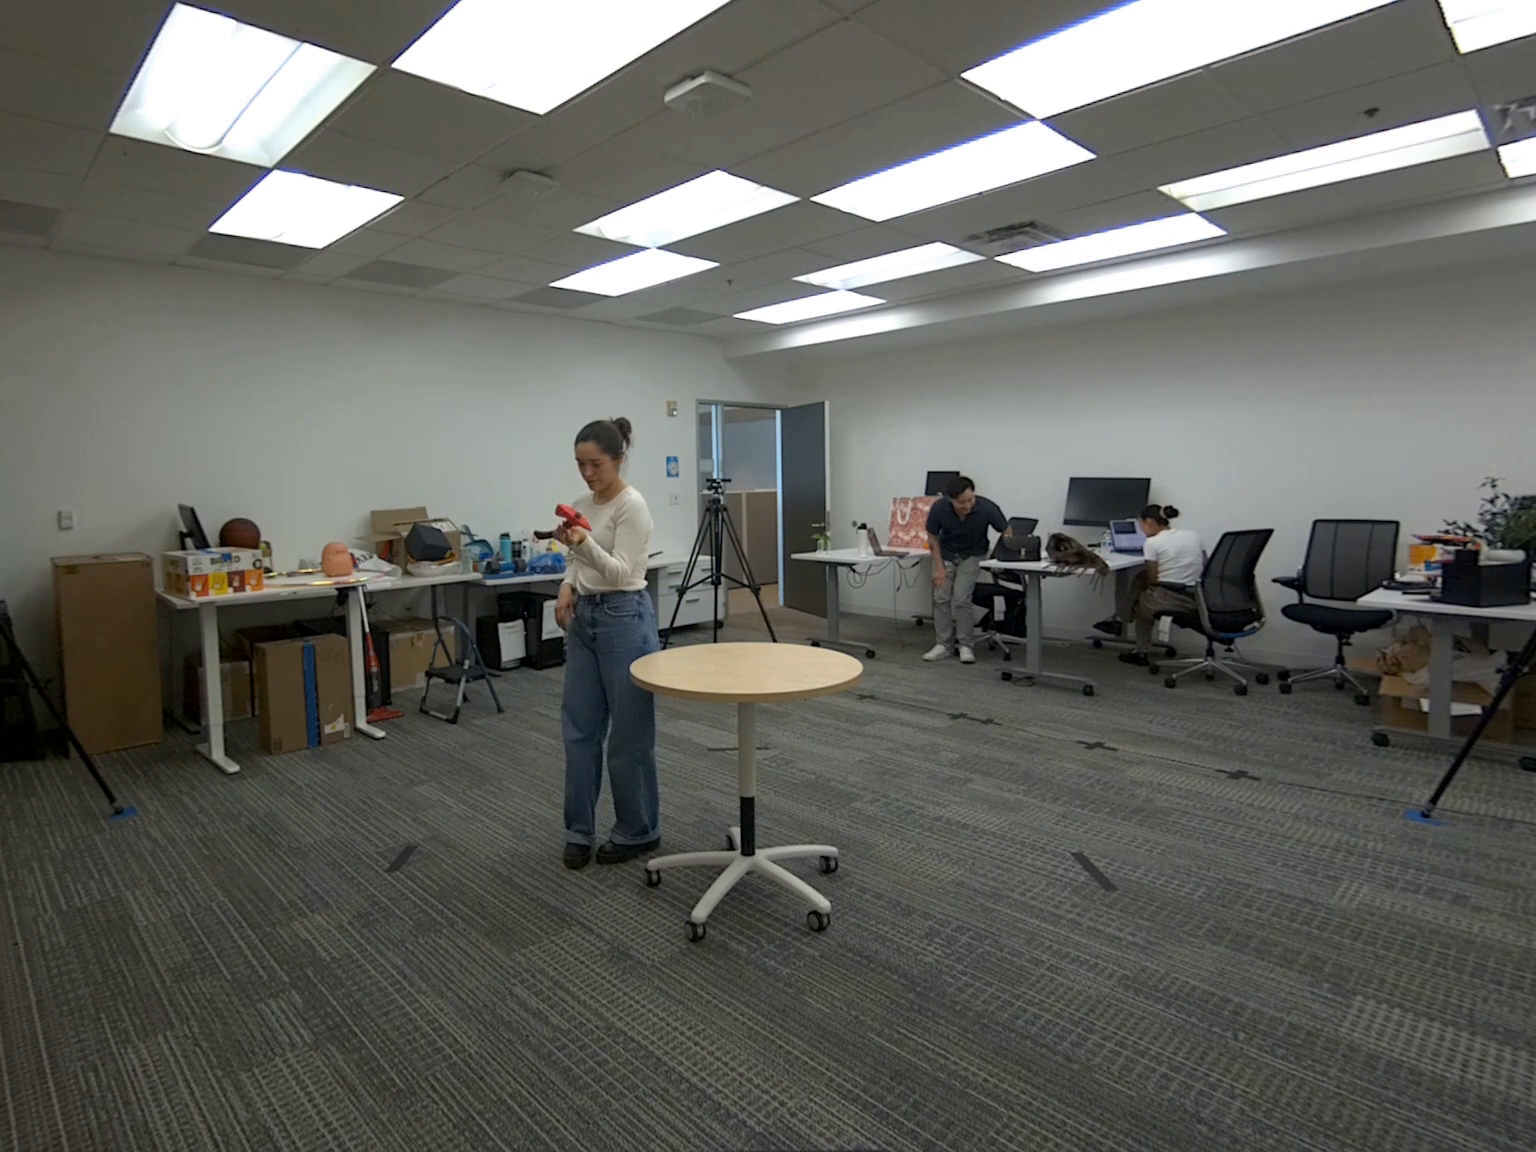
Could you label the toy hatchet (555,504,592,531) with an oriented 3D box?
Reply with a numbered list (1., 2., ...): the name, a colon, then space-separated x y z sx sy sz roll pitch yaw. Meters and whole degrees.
1. toy hatchet: -0.701 -0.177 2.789 0.277 0.030 0.126 -6 -46 42
